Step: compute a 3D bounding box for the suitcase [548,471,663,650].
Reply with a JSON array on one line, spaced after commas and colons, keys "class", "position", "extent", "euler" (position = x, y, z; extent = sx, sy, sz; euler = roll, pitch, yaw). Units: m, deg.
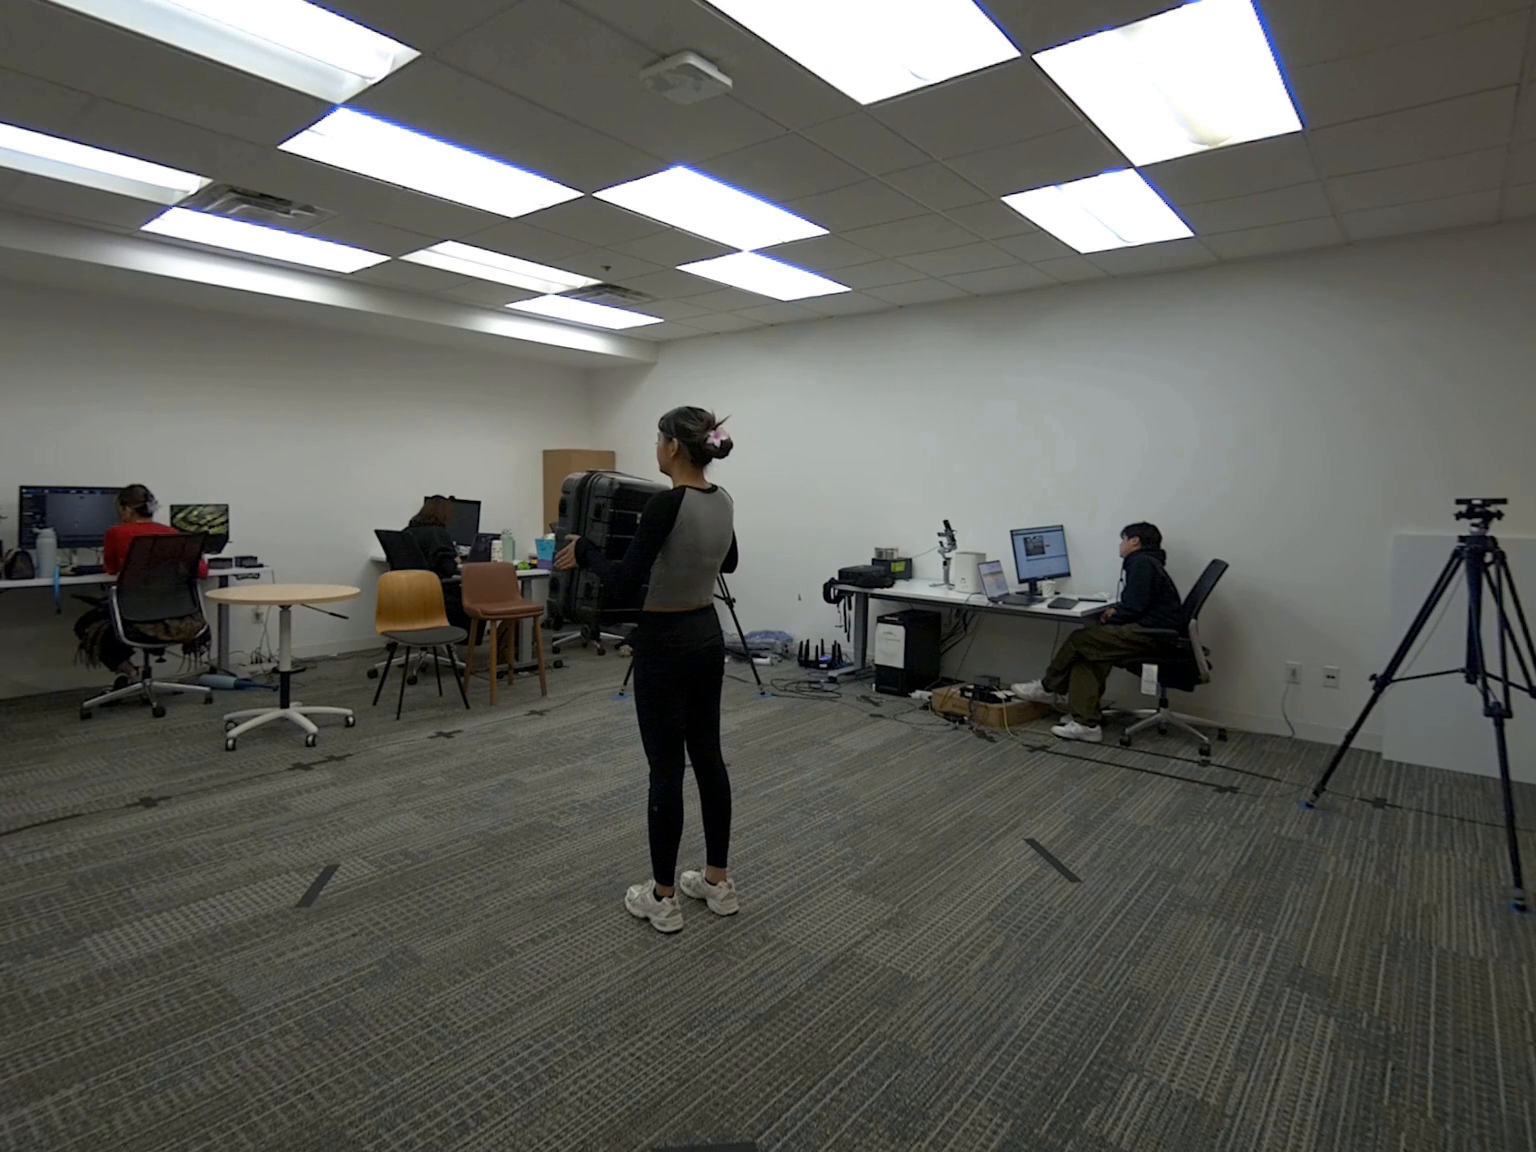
[{"class": "suitcase", "position": [-0.545, -0.079, 2.894], "extent": [0.257, 0.548, 0.363], "euler": [9, 3, 36]}]
